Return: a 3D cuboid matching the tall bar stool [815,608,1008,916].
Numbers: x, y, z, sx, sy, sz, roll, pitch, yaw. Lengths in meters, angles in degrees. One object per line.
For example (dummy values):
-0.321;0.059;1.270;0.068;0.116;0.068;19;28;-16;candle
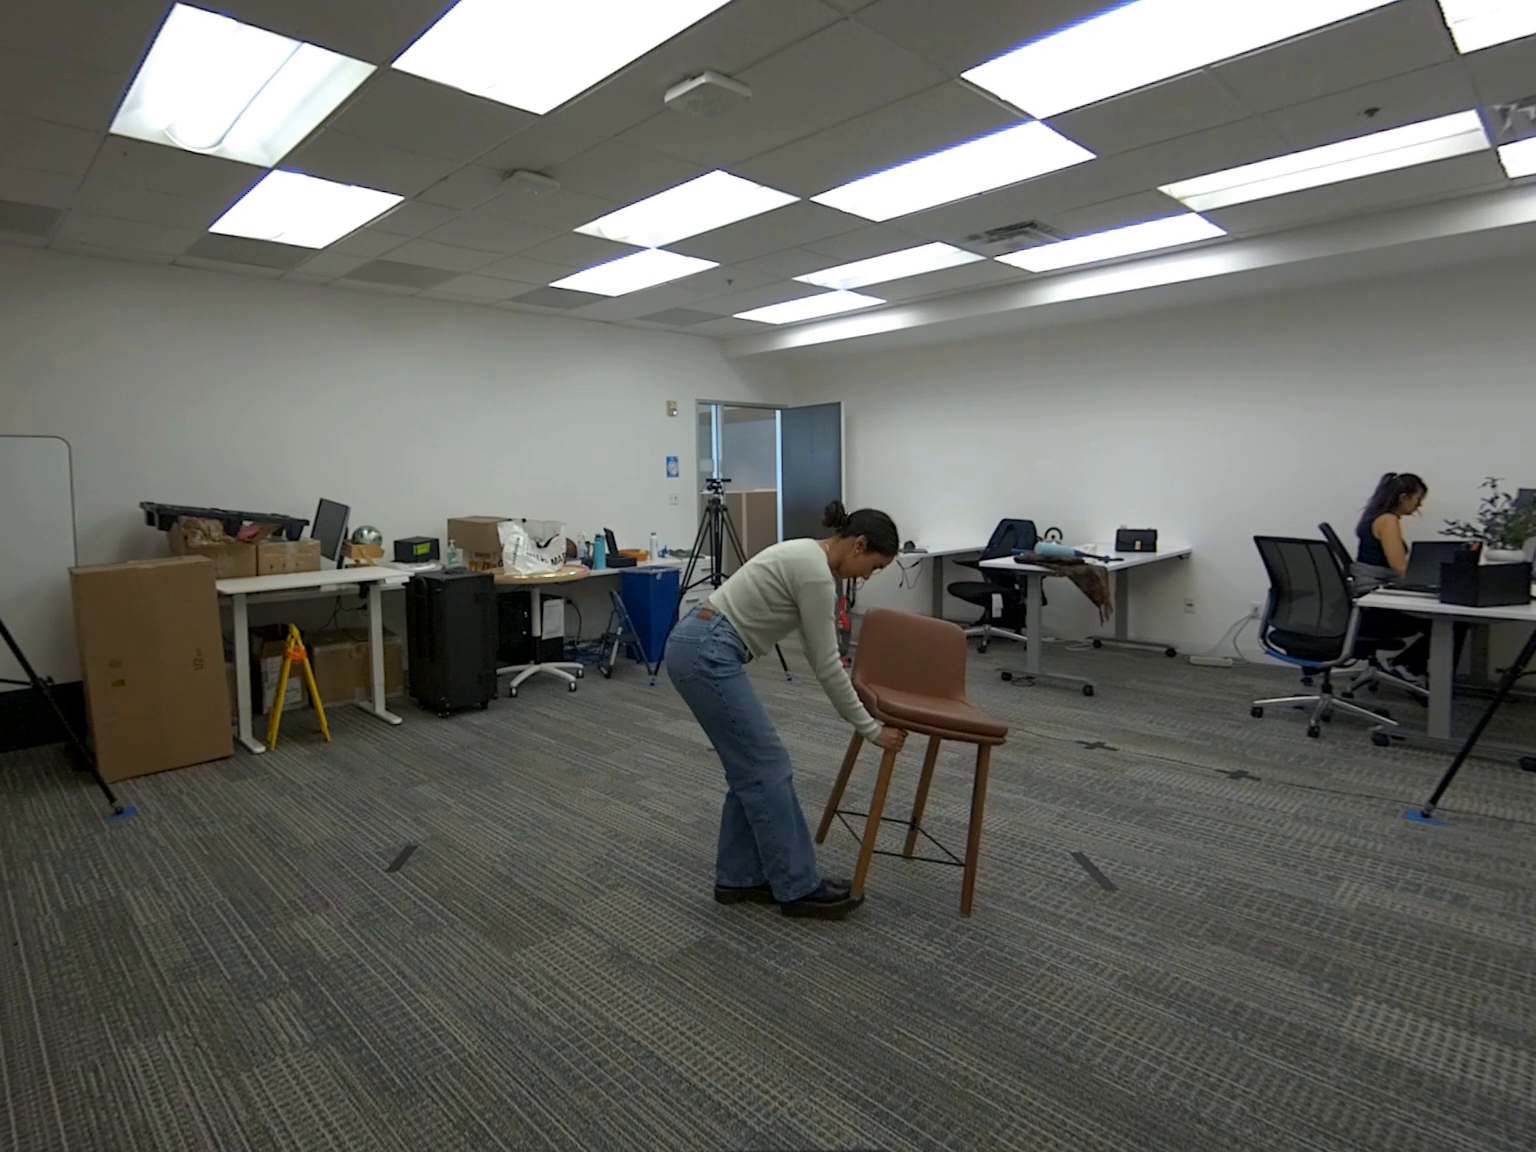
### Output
0.507;0.596;2.888;0.449;0.891;0.474;13;-2;-14;tall bar stool
